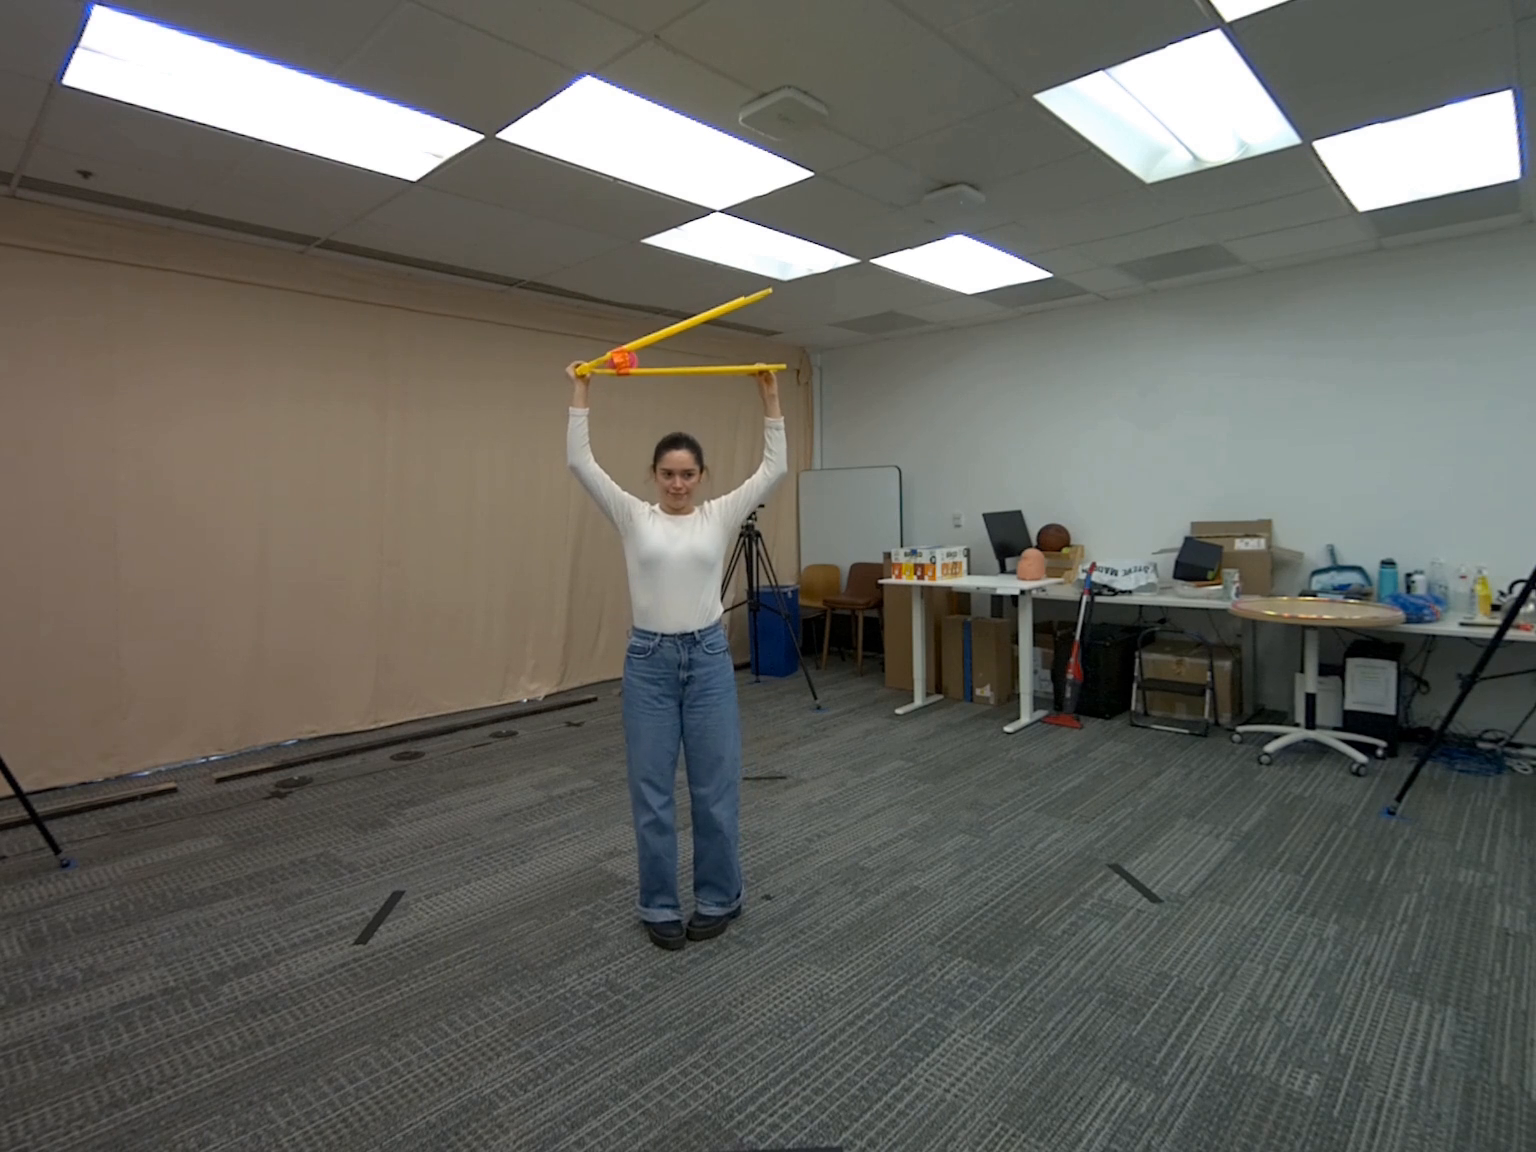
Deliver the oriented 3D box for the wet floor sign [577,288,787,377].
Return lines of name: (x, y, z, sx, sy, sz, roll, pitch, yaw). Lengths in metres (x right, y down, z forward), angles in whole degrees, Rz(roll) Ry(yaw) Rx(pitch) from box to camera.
wet floor sign: (-0.301, -0.731, 2.726, 0.642, 0.286, 0.287, -11, 14, -6)
